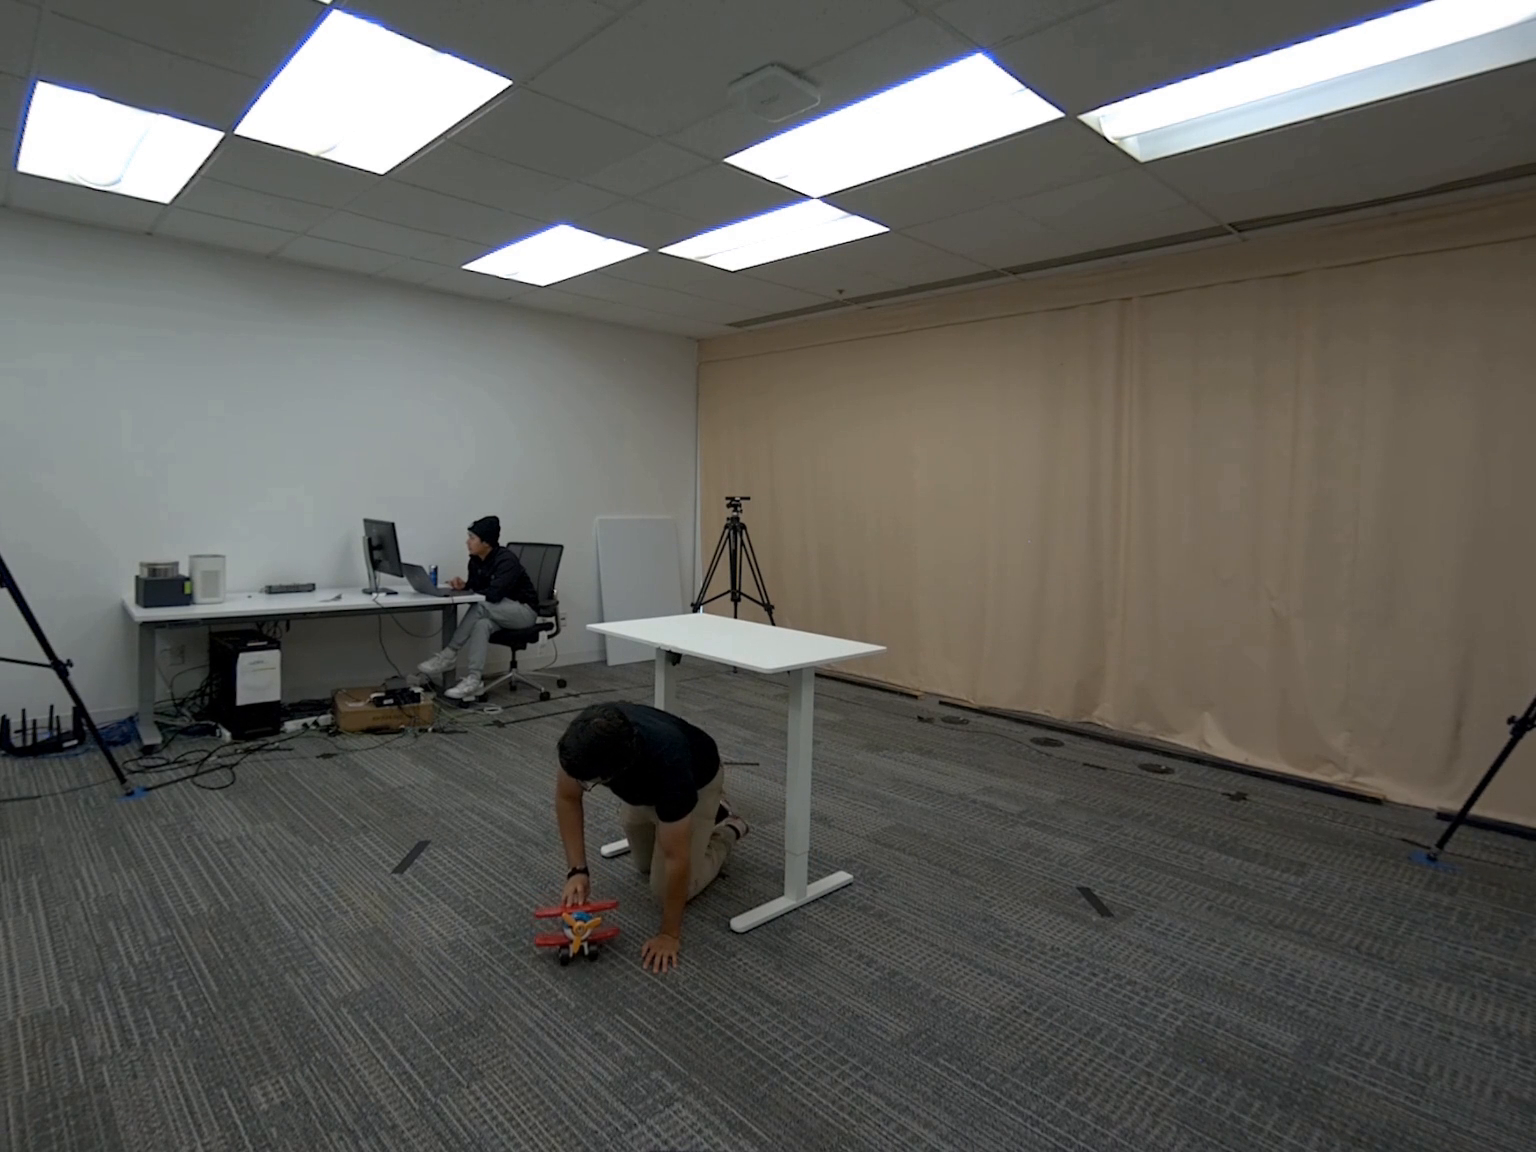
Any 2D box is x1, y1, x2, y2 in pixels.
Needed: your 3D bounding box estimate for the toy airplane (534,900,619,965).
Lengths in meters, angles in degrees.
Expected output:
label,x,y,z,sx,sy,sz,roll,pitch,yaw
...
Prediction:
label,x,y,z,sx,sy,sz,roll,pitch,yaw
toy airplane,-0.617,1.073,2.578,0.266,0.156,0.245,6,7,44
